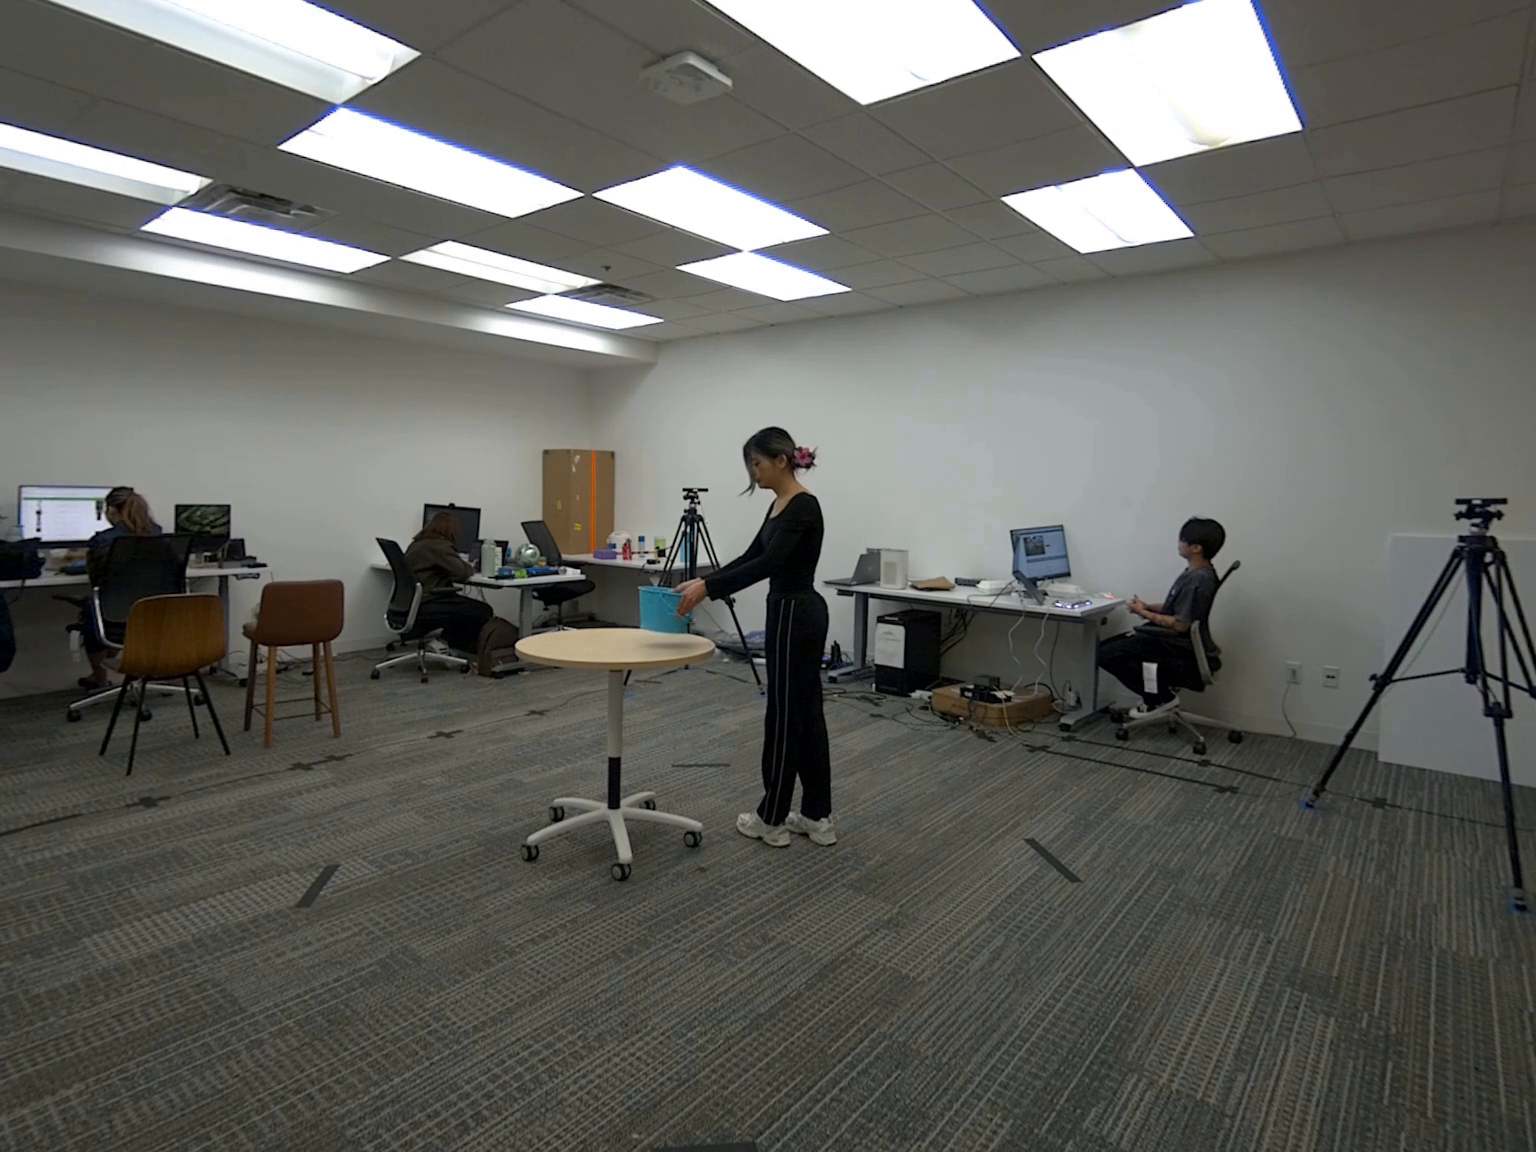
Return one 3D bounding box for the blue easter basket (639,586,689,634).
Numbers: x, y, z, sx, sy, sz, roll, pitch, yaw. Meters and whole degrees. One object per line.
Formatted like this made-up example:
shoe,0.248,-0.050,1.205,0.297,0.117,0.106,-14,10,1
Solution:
blue easter basket,-0.392,0.135,3.283,0.243,0.156,0.244,5,1,-2
